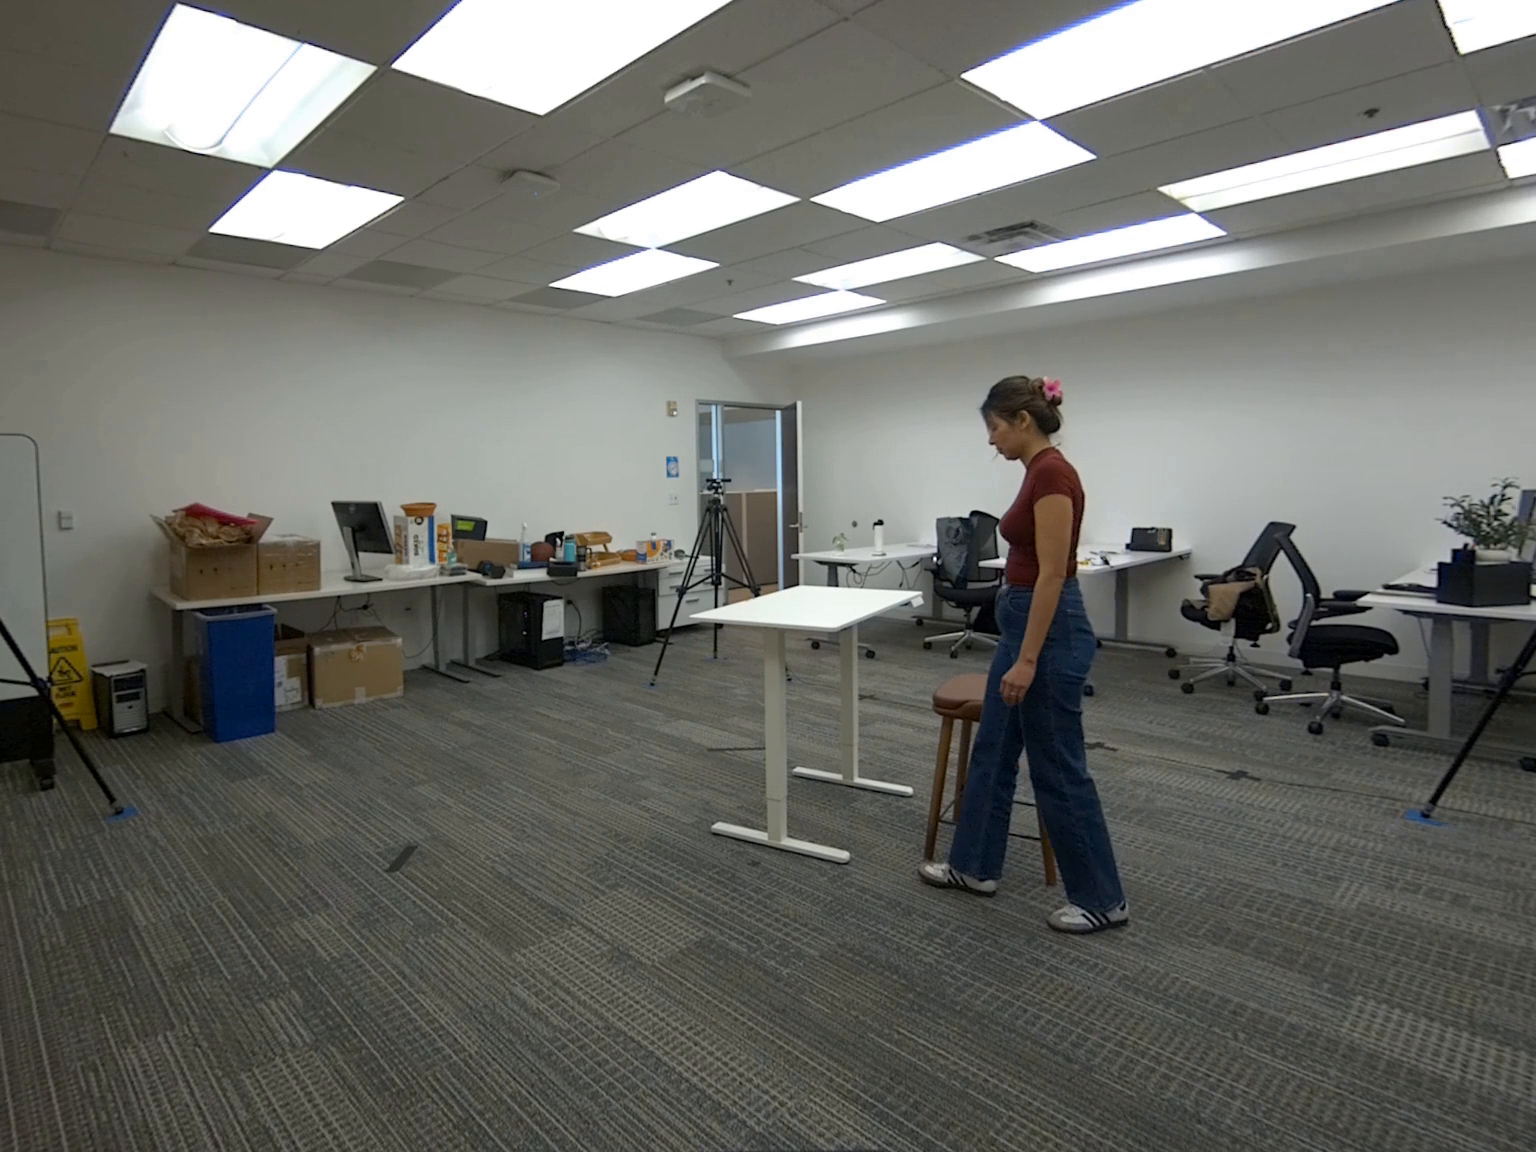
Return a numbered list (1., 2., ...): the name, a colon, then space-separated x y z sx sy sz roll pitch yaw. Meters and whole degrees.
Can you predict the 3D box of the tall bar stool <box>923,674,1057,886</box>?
1. tall bar stool: 0.863 0.590 3.149 0.480 0.887 0.446 3 5 29
